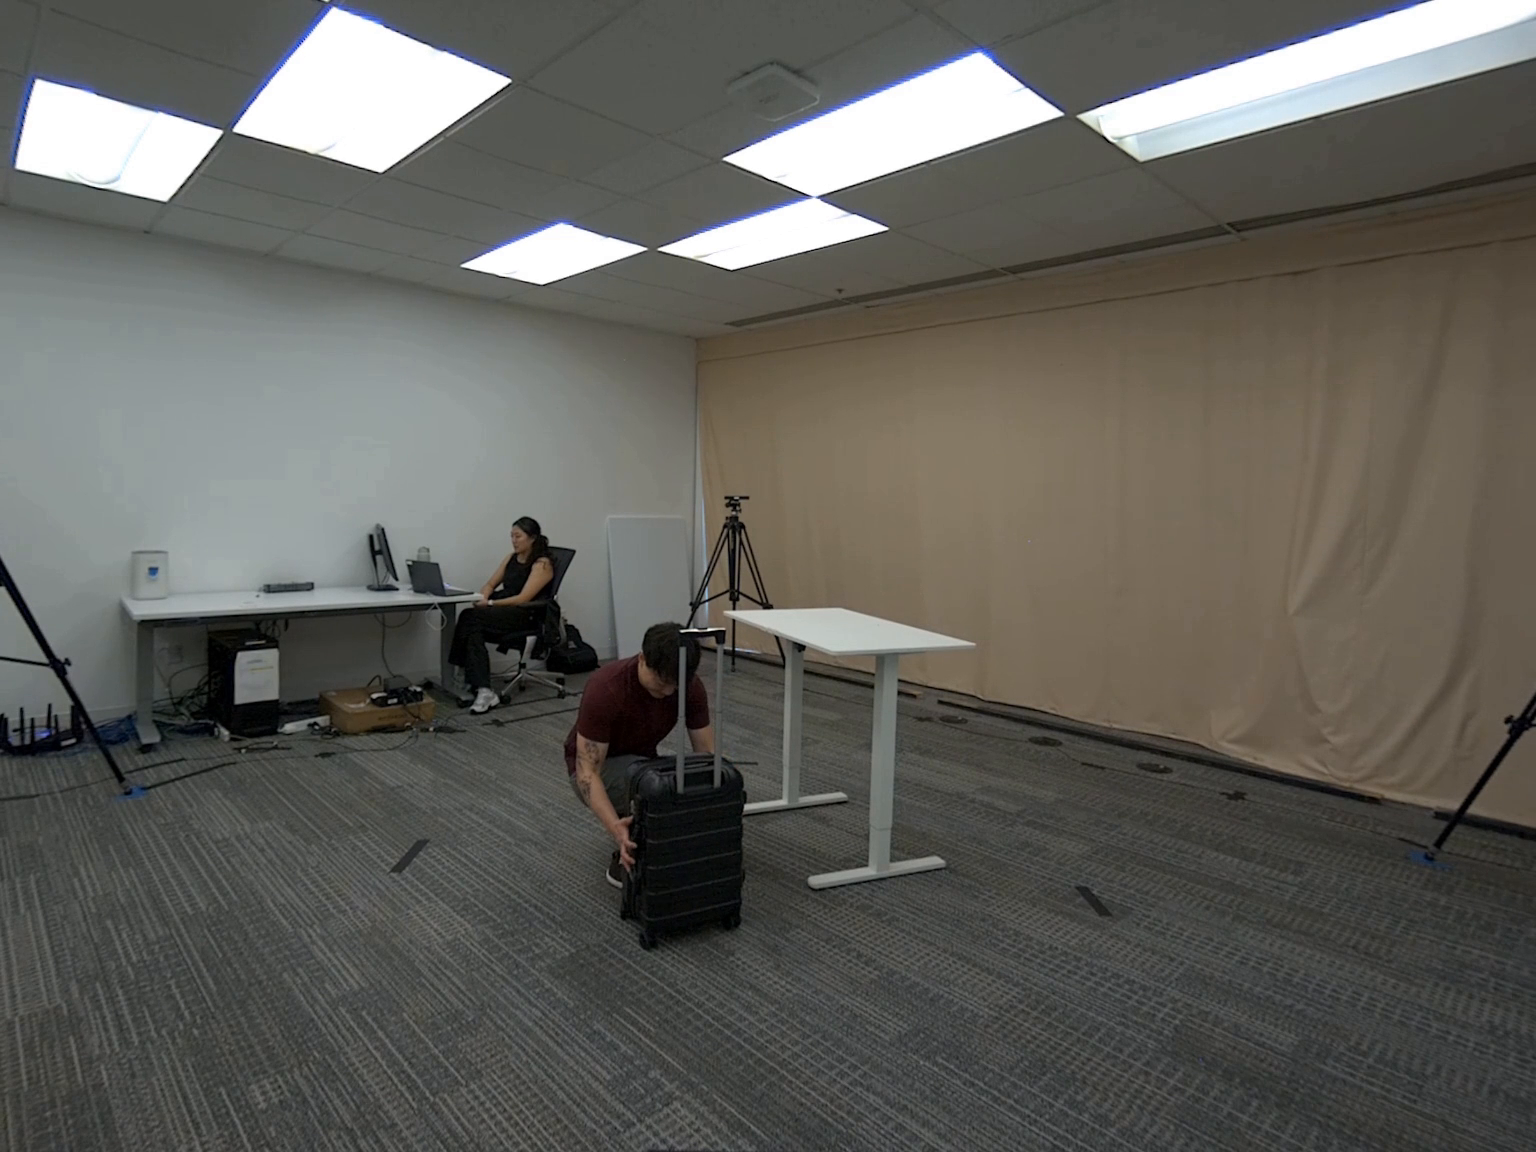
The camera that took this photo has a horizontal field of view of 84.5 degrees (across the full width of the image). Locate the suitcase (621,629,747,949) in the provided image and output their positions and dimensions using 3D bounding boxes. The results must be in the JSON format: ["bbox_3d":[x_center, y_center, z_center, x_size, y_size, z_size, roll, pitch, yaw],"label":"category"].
[{"bbox_3d":[-0.275,0.657,2.699,0.377,0.977,0.262,1,3,-27],"label":"suitcase"}]
